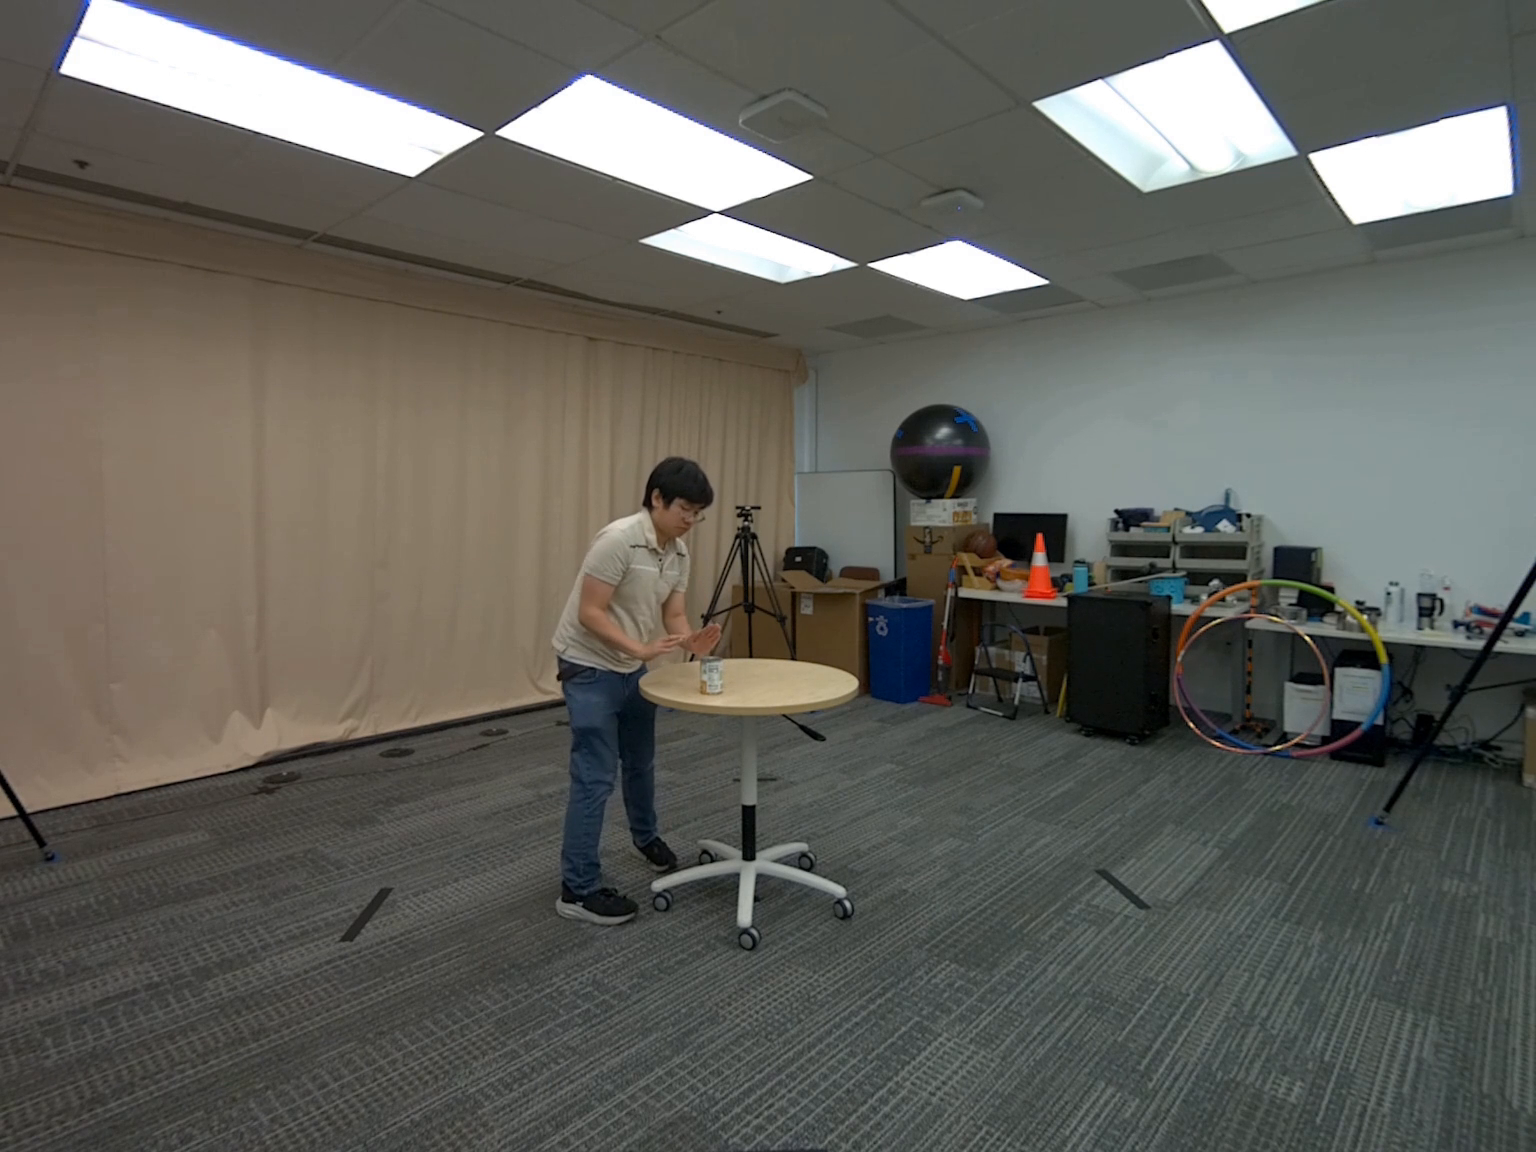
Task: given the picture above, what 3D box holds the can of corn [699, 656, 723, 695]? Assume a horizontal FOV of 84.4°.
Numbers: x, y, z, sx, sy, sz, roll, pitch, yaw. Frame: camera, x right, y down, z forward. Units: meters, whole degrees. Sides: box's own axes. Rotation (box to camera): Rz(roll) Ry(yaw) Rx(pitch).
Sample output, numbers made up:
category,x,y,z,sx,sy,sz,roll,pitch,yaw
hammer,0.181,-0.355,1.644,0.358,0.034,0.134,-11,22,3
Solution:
category,x,y,z,sx,sy,sz,roll,pitch,yaw
can of corn,-0.185,0.331,2.750,0.074,0.111,0.074,-4,4,-2
